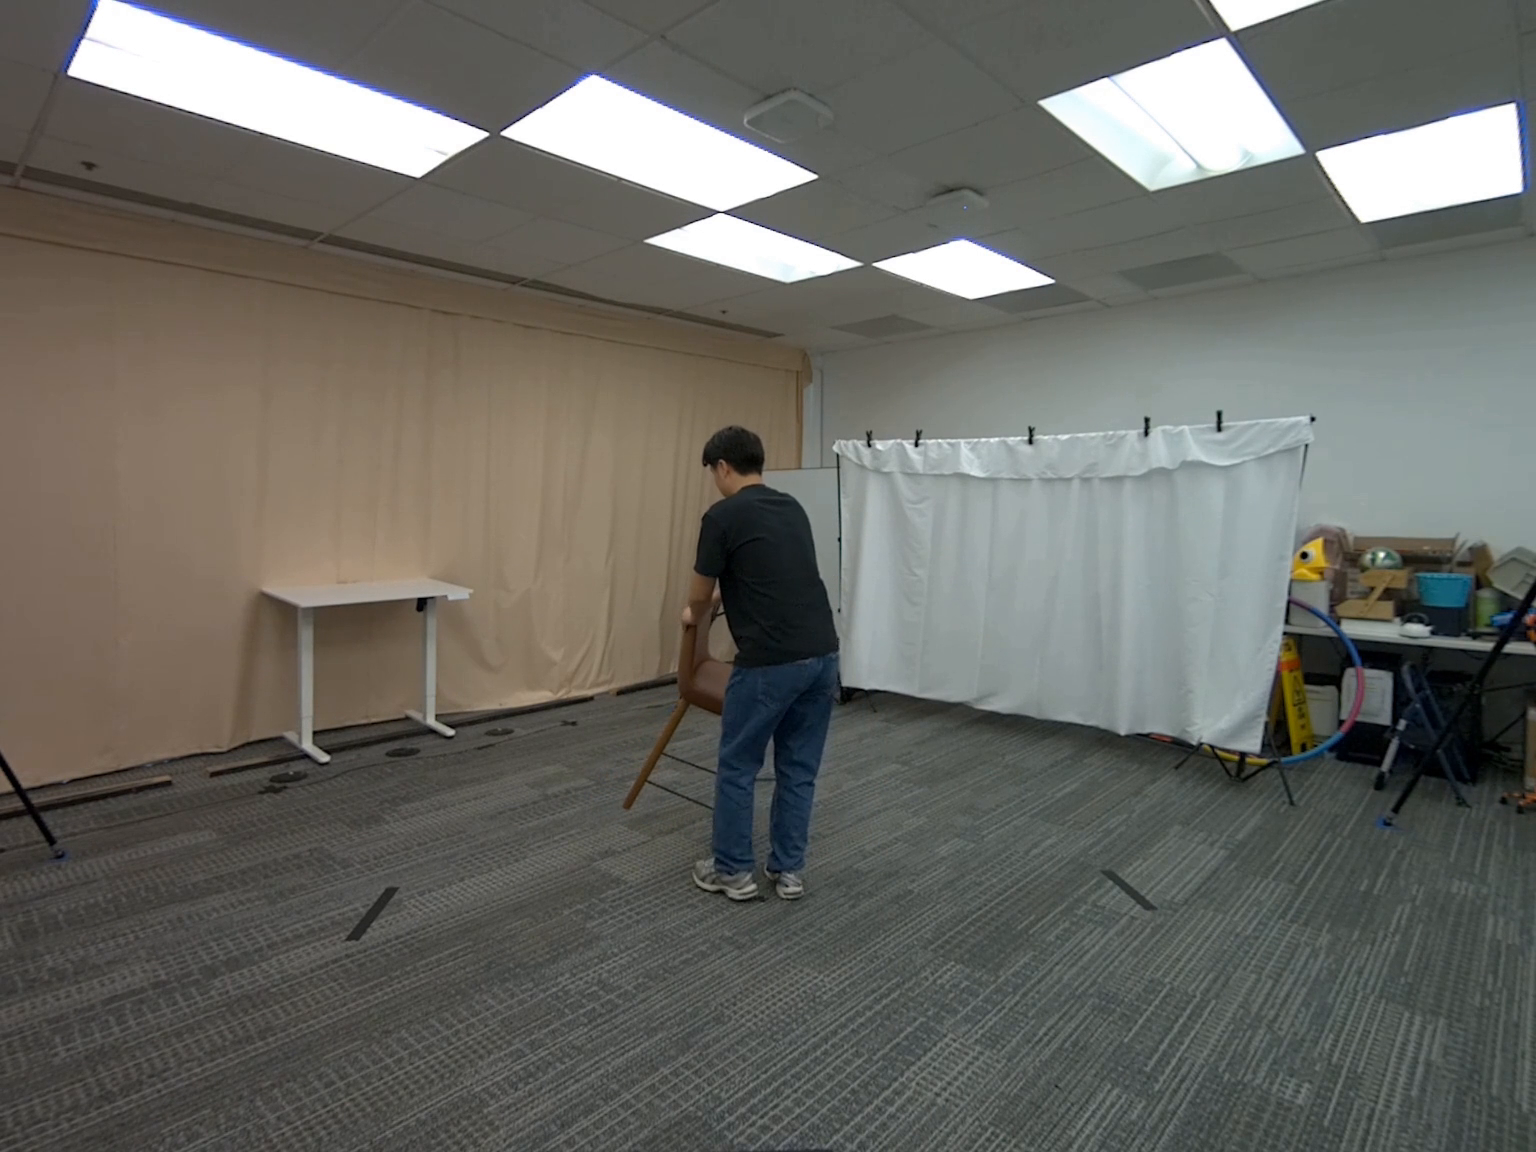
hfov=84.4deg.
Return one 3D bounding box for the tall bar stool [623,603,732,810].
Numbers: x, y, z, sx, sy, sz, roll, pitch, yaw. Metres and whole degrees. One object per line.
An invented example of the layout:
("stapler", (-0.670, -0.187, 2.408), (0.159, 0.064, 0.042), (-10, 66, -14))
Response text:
("tall bar stool", (-0.232, 0.604, 3.542), (0.471, 0.887, 0.455), (19, 9, 4))
